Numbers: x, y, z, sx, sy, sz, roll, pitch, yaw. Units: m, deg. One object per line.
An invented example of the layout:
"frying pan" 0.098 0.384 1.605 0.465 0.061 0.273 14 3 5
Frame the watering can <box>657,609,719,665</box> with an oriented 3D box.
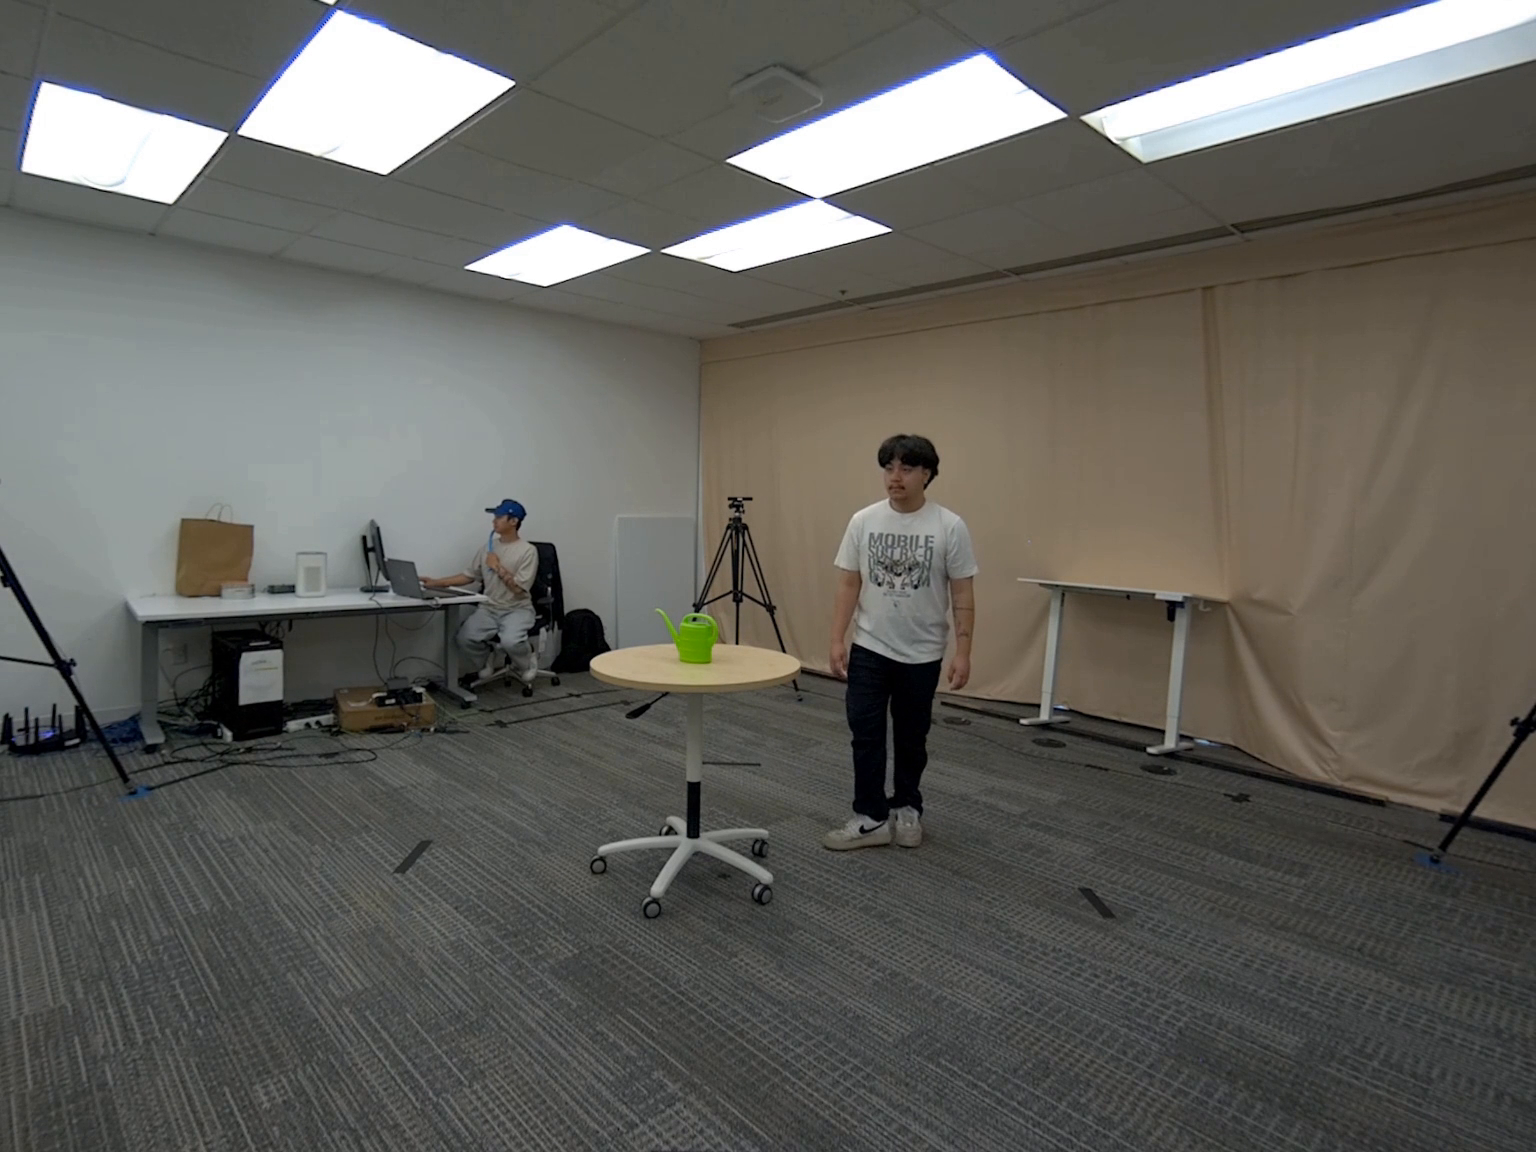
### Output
"watering can" -0.308 0.223 3.114 0.096 0.176 0.285 -3 6 -45
